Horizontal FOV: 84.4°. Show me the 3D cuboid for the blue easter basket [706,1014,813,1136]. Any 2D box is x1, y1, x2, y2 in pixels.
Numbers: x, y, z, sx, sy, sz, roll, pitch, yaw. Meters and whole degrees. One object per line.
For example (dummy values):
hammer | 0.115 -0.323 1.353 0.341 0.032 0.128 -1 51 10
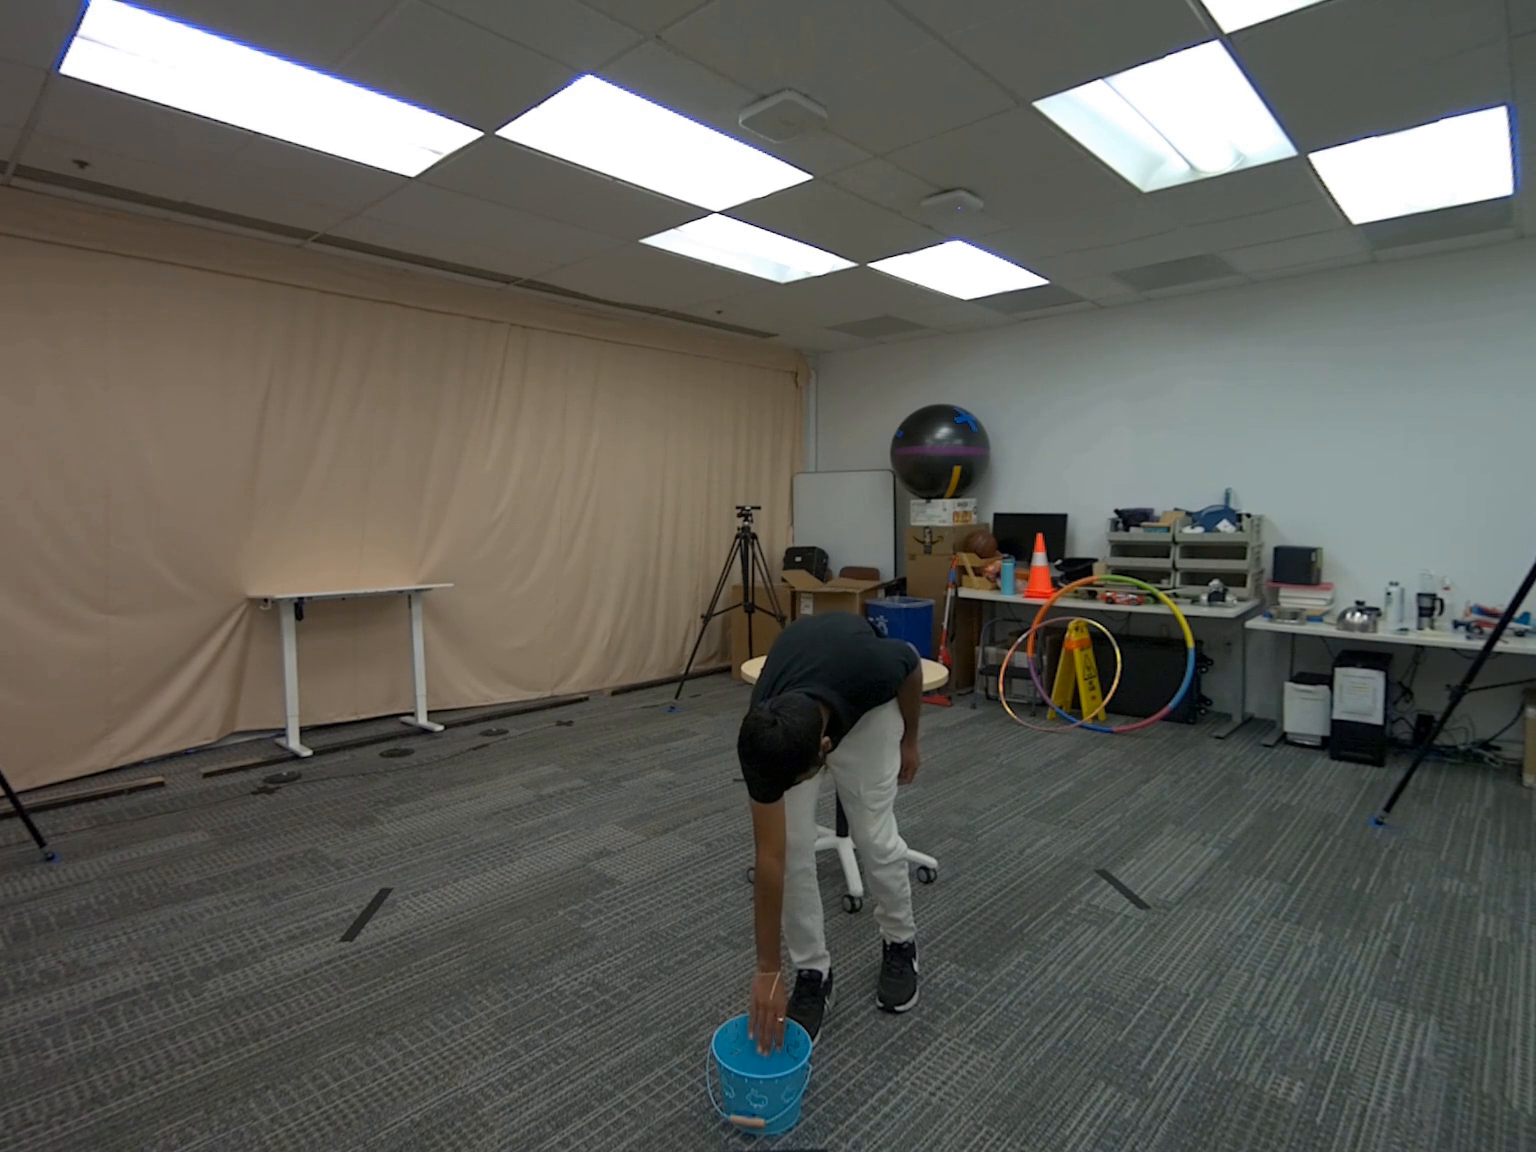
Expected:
blue easter basket | -0.018 1.157 1.942 0.243 0.155 0.244 0 4 -2
